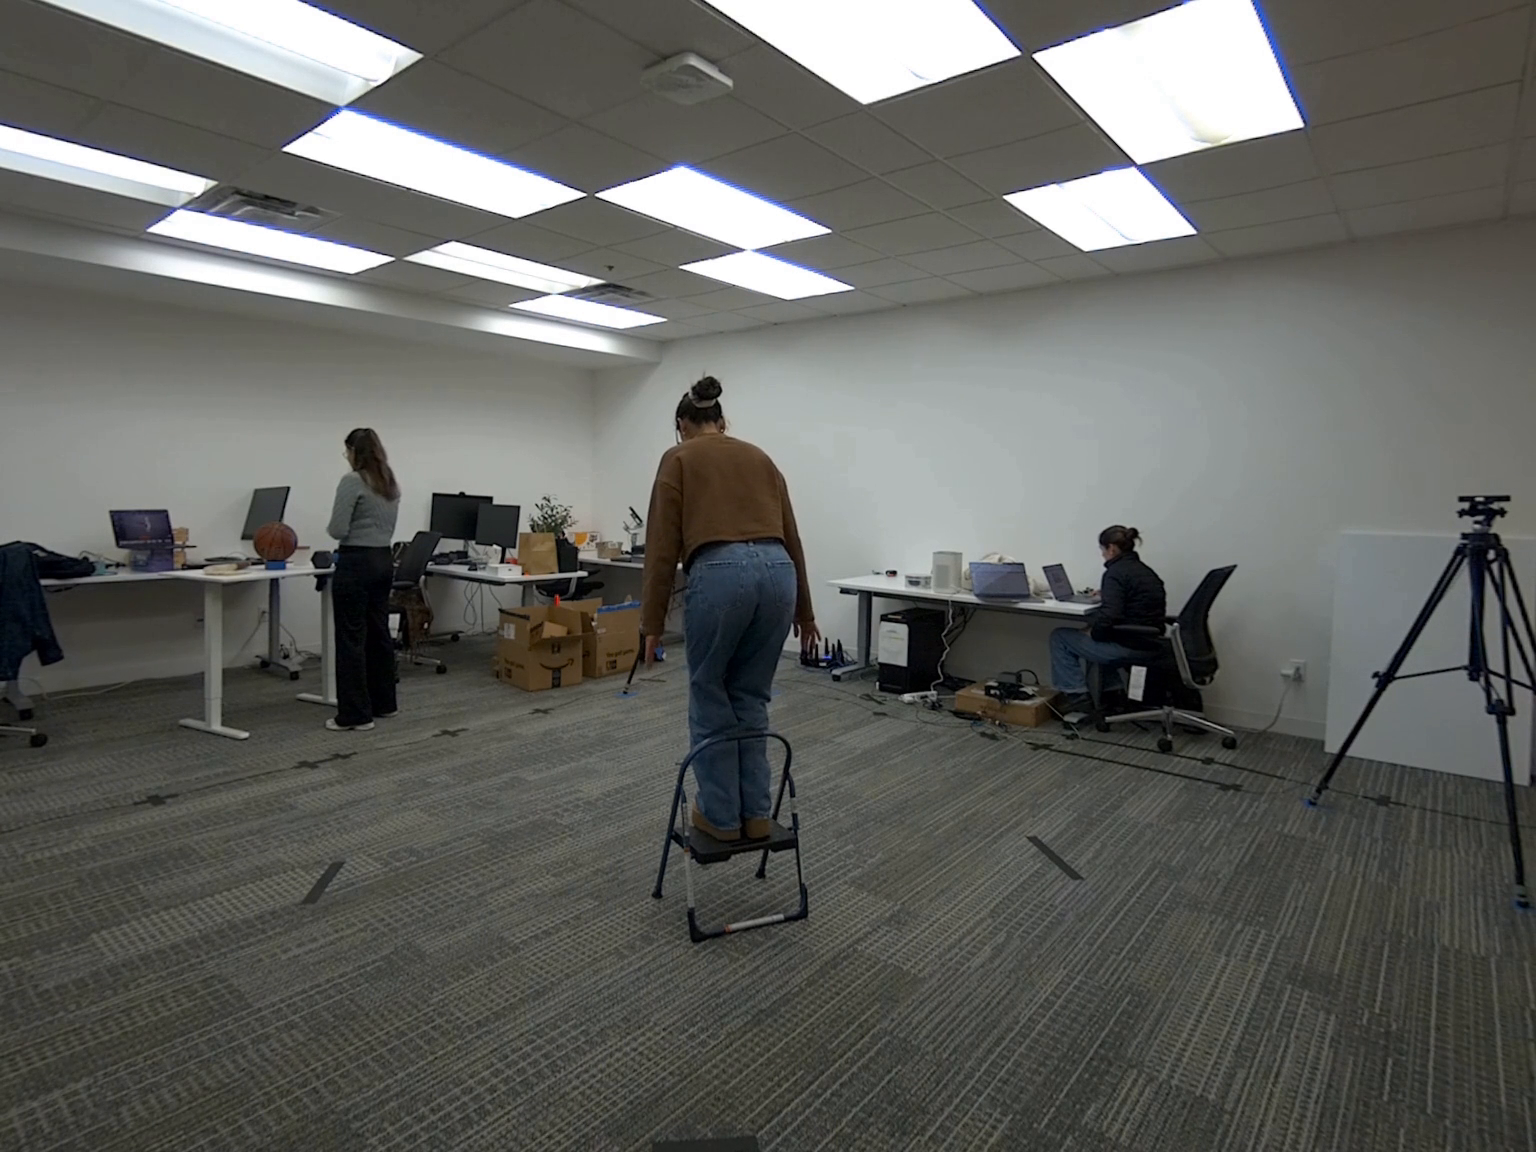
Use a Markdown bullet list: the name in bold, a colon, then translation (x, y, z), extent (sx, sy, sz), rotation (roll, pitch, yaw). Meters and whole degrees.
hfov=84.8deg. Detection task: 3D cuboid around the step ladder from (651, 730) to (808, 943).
- **step ladder**: translation (-0.132, 0.798, 2.813), extent (0.420, 0.604, 0.359), rotation (-1, 3, -27)
